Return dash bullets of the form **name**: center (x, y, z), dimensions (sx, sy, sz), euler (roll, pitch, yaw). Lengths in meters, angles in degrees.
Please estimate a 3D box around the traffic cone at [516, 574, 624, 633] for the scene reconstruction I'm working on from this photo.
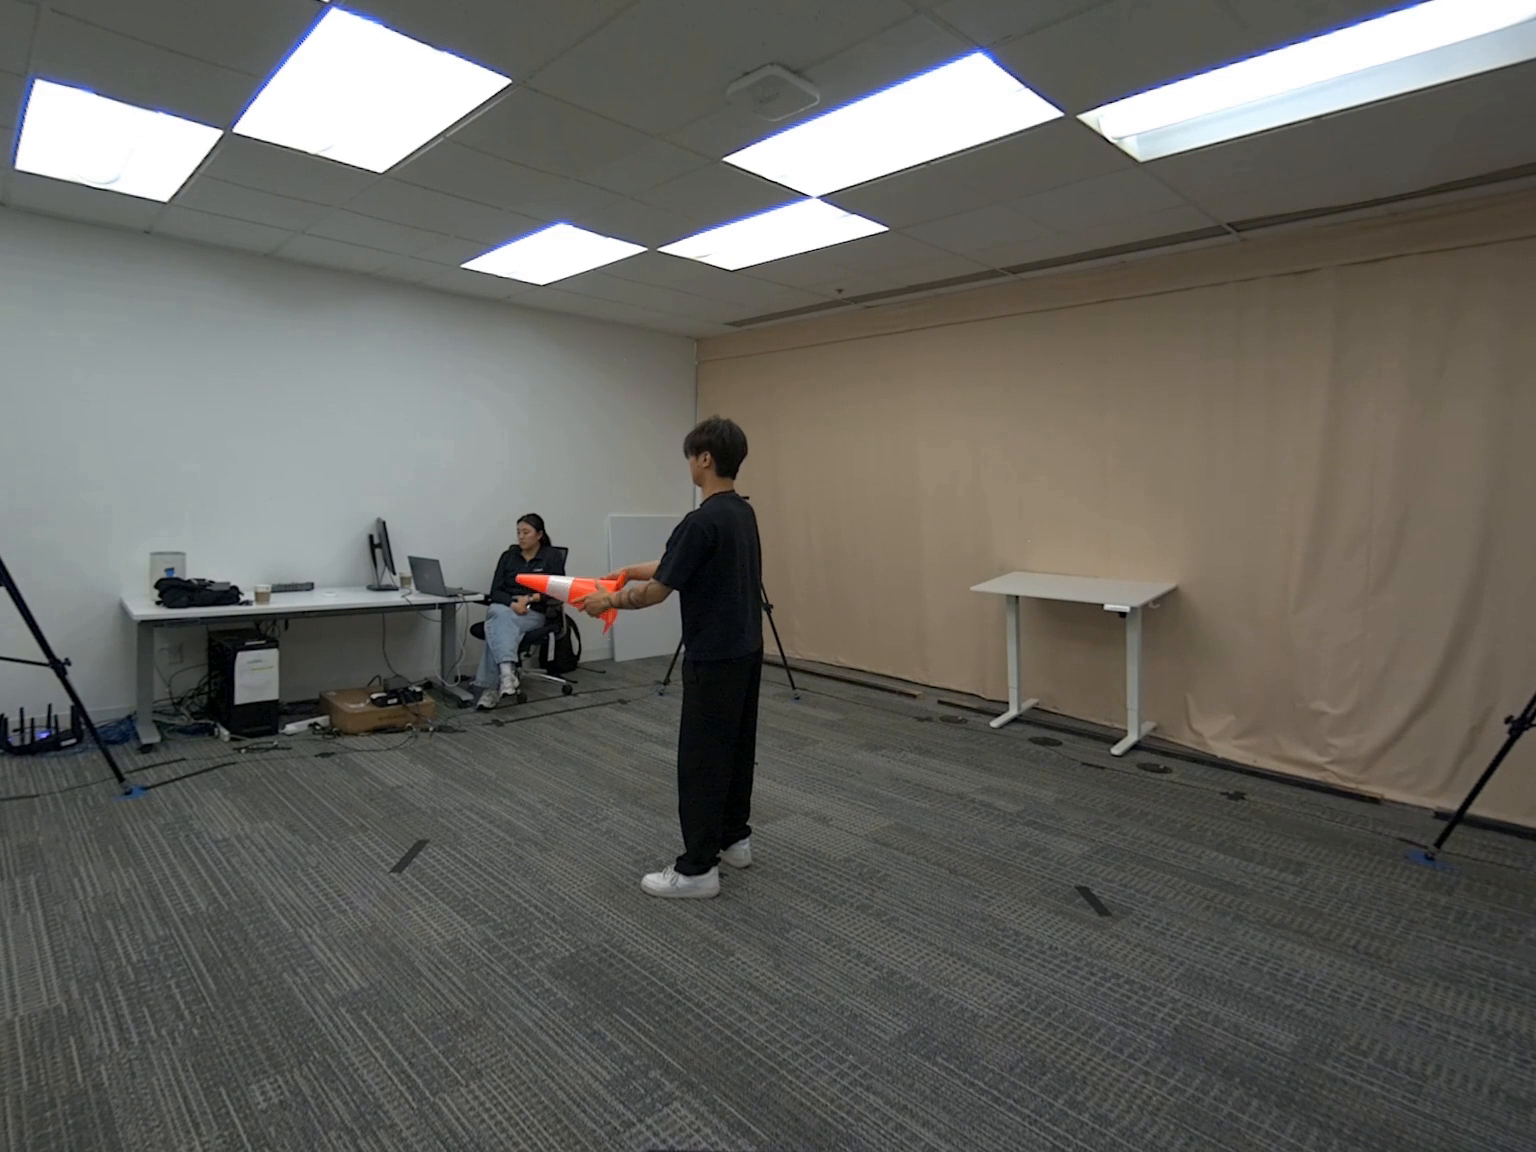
- **traffic cone**: center (-0.757, 0.054, 3.163), dimensions (0.385, 0.202, 0.205), euler (13, 26, 3)
